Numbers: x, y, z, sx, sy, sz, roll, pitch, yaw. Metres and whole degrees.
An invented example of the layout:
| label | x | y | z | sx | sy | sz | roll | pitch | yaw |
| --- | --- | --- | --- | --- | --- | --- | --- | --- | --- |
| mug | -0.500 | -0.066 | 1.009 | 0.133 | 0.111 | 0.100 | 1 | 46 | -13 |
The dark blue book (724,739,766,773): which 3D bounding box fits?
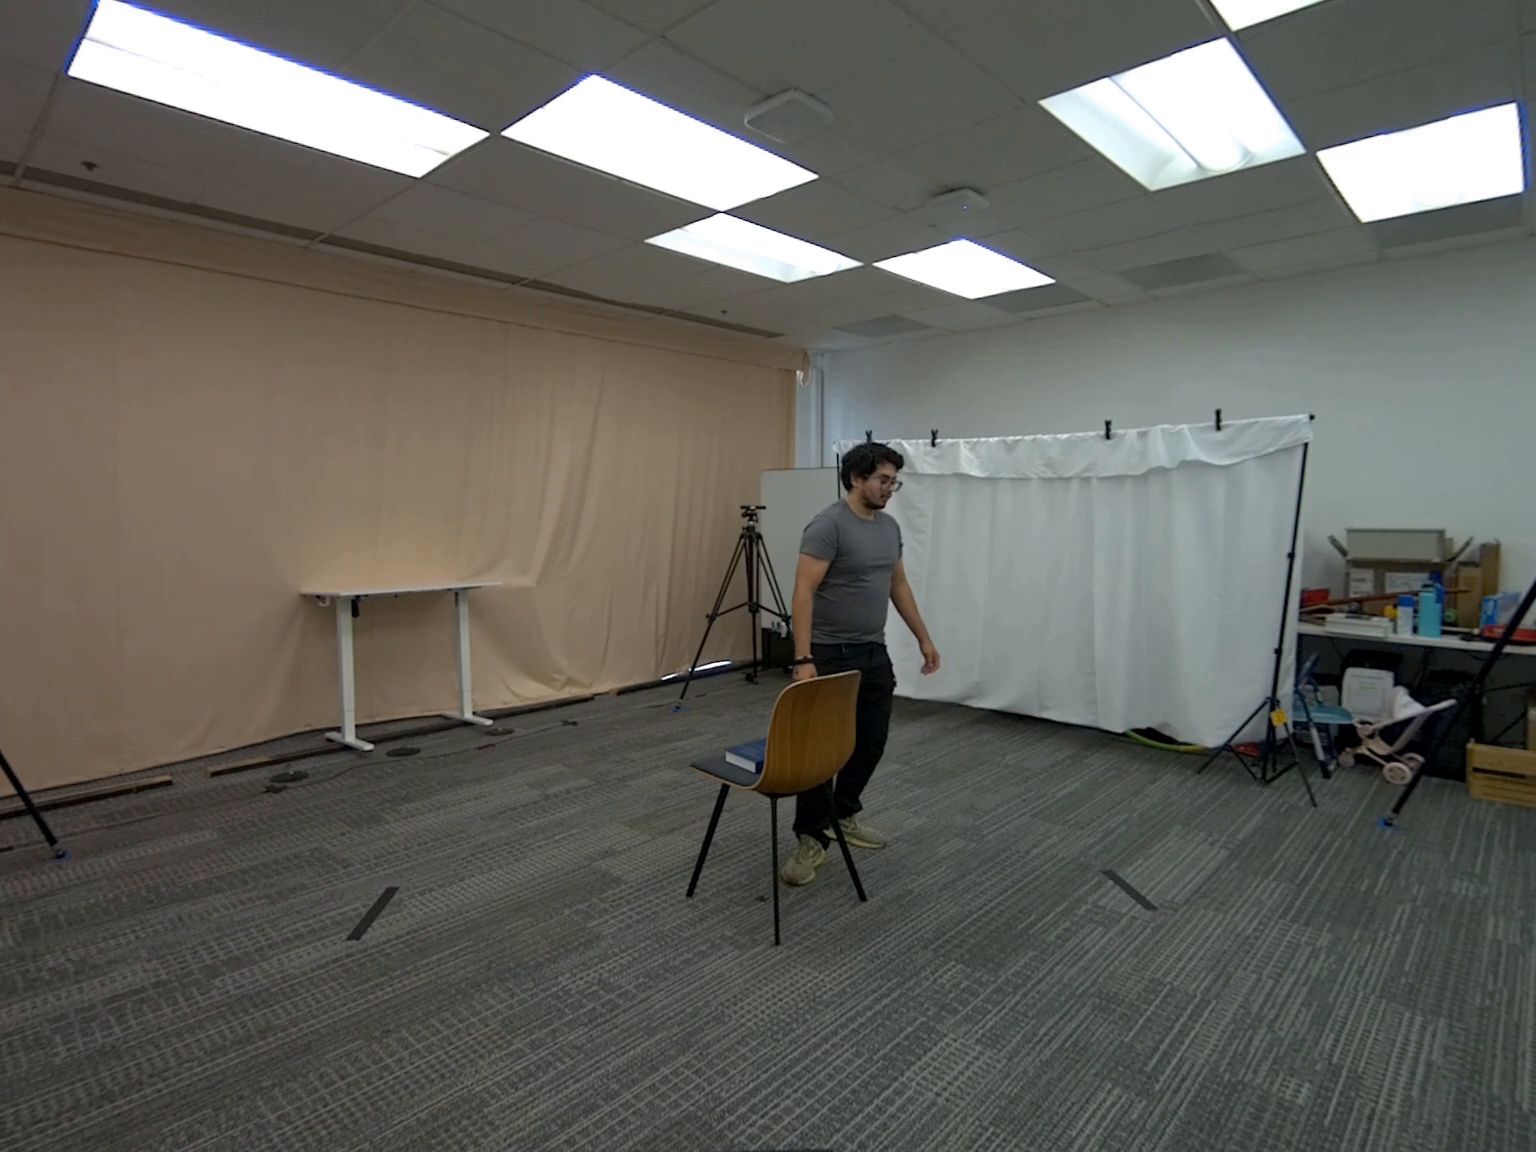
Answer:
| label | x | y | z | sx | sy | sz | roll | pitch | yaw |
| --- | --- | --- | --- | --- | --- | --- | --- | --- | --- |
| dark blue book | -0.014 | 0.635 | 3.009 | 0.237 | 0.045 | 0.169 | -4 | 9 | -44 |
